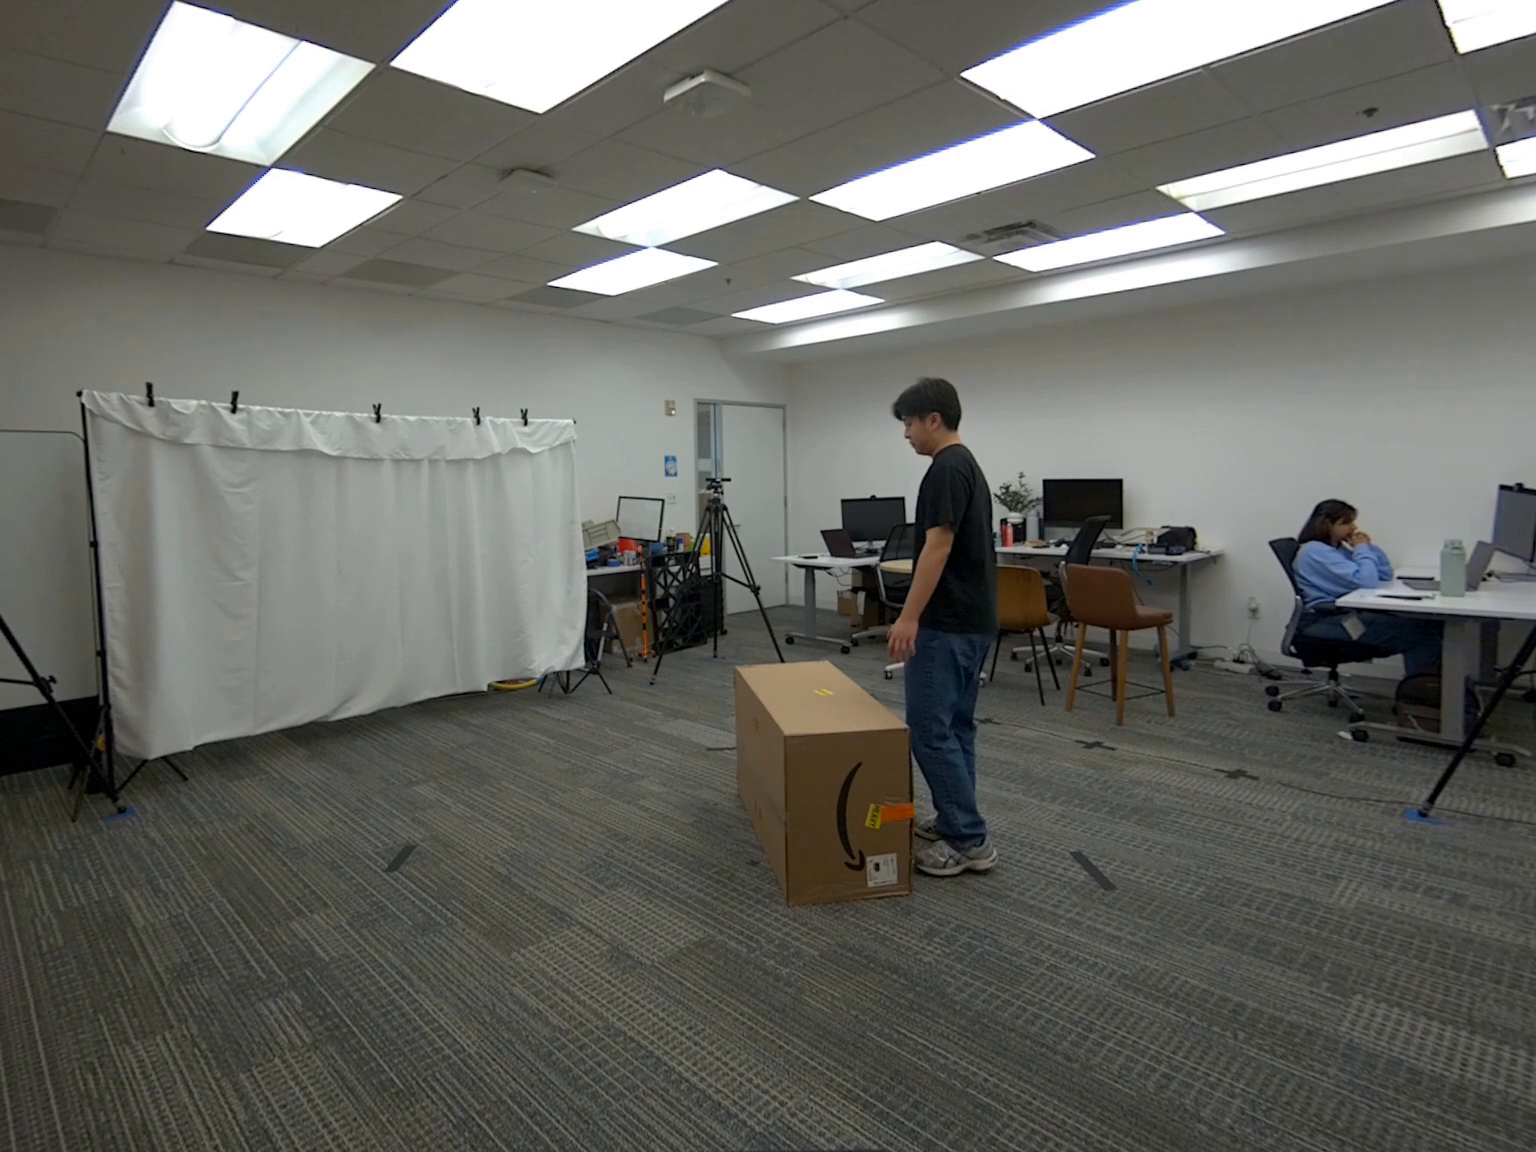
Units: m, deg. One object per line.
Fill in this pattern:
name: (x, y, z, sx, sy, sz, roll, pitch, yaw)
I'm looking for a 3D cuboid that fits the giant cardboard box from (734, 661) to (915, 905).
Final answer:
giant cardboard box: (0.172, 0.729, 3.296, 0.442, 0.581, 1.042, -1, 6, -11)
